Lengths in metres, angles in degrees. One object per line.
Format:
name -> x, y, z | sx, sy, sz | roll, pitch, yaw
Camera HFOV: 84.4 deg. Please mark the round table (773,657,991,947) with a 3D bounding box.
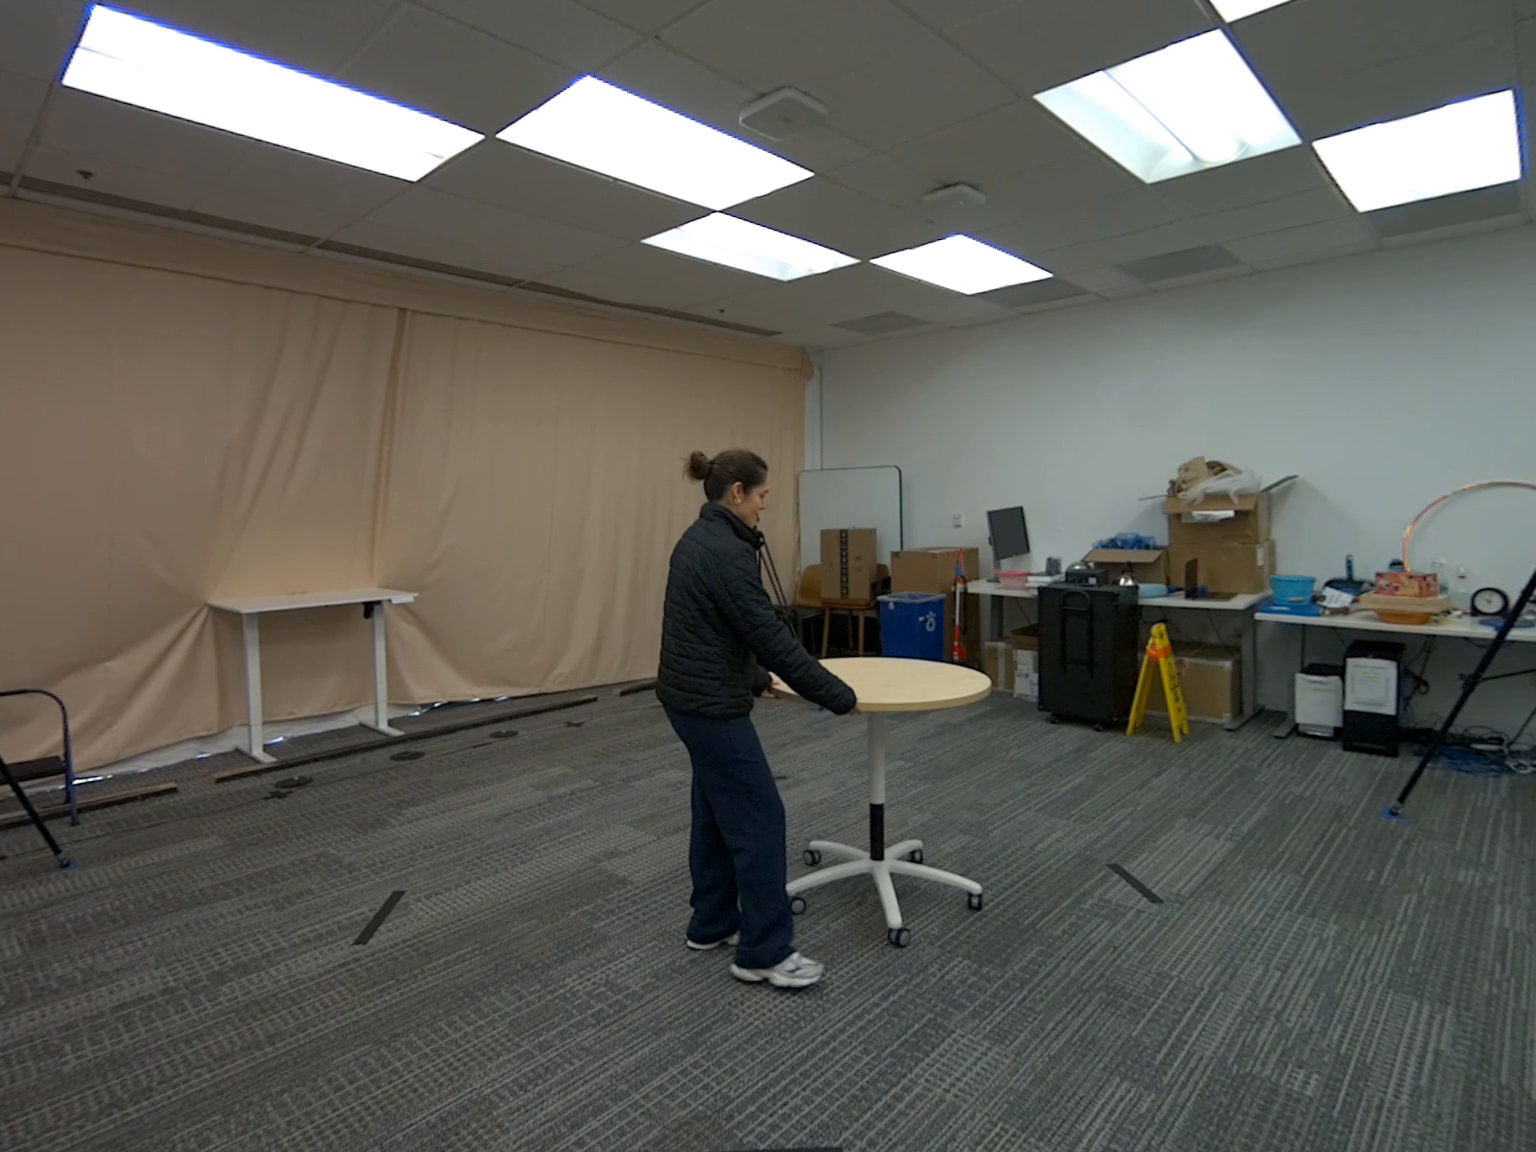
round table -> 0.385, 0.742, 2.954 | 0.784, 0.785, 0.788 | -1, 4, -2
